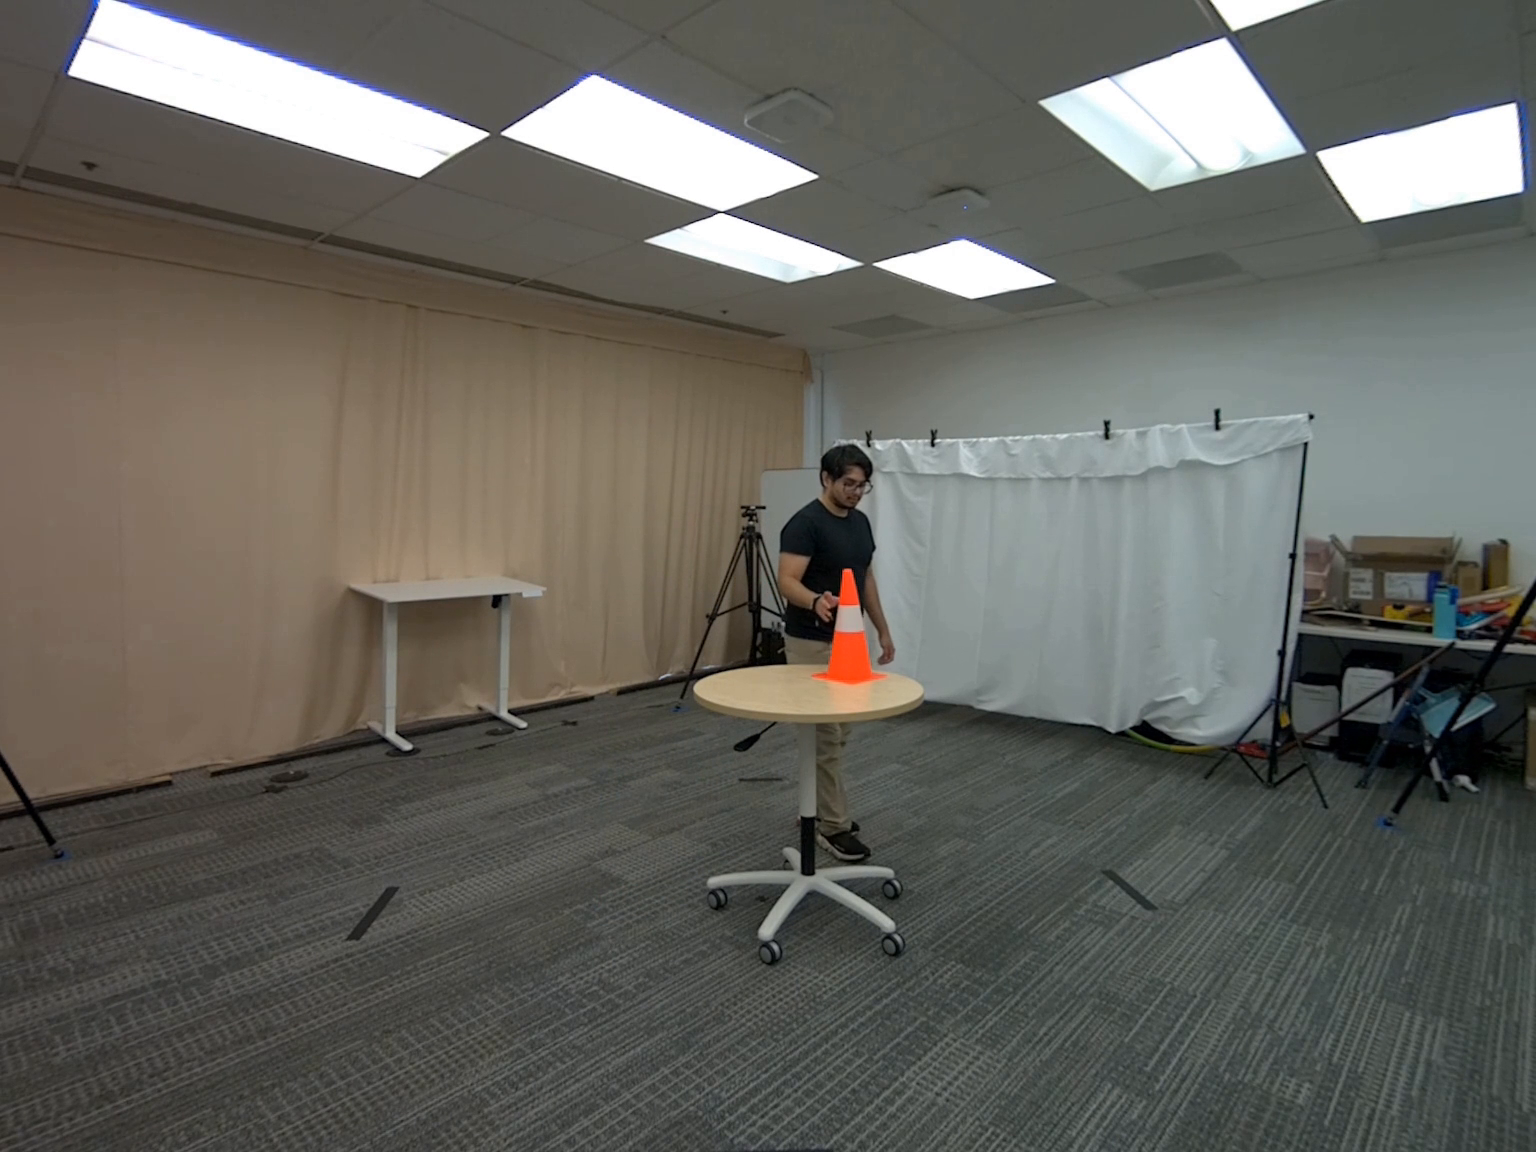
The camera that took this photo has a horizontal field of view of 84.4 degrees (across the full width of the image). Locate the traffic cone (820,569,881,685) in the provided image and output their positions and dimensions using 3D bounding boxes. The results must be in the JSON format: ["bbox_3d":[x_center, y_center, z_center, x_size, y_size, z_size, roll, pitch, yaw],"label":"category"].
[{"bbox_3d":[0.287,0.168,2.980,0.211,0.382,0.197,1,5,37],"label":"traffic cone"}]
